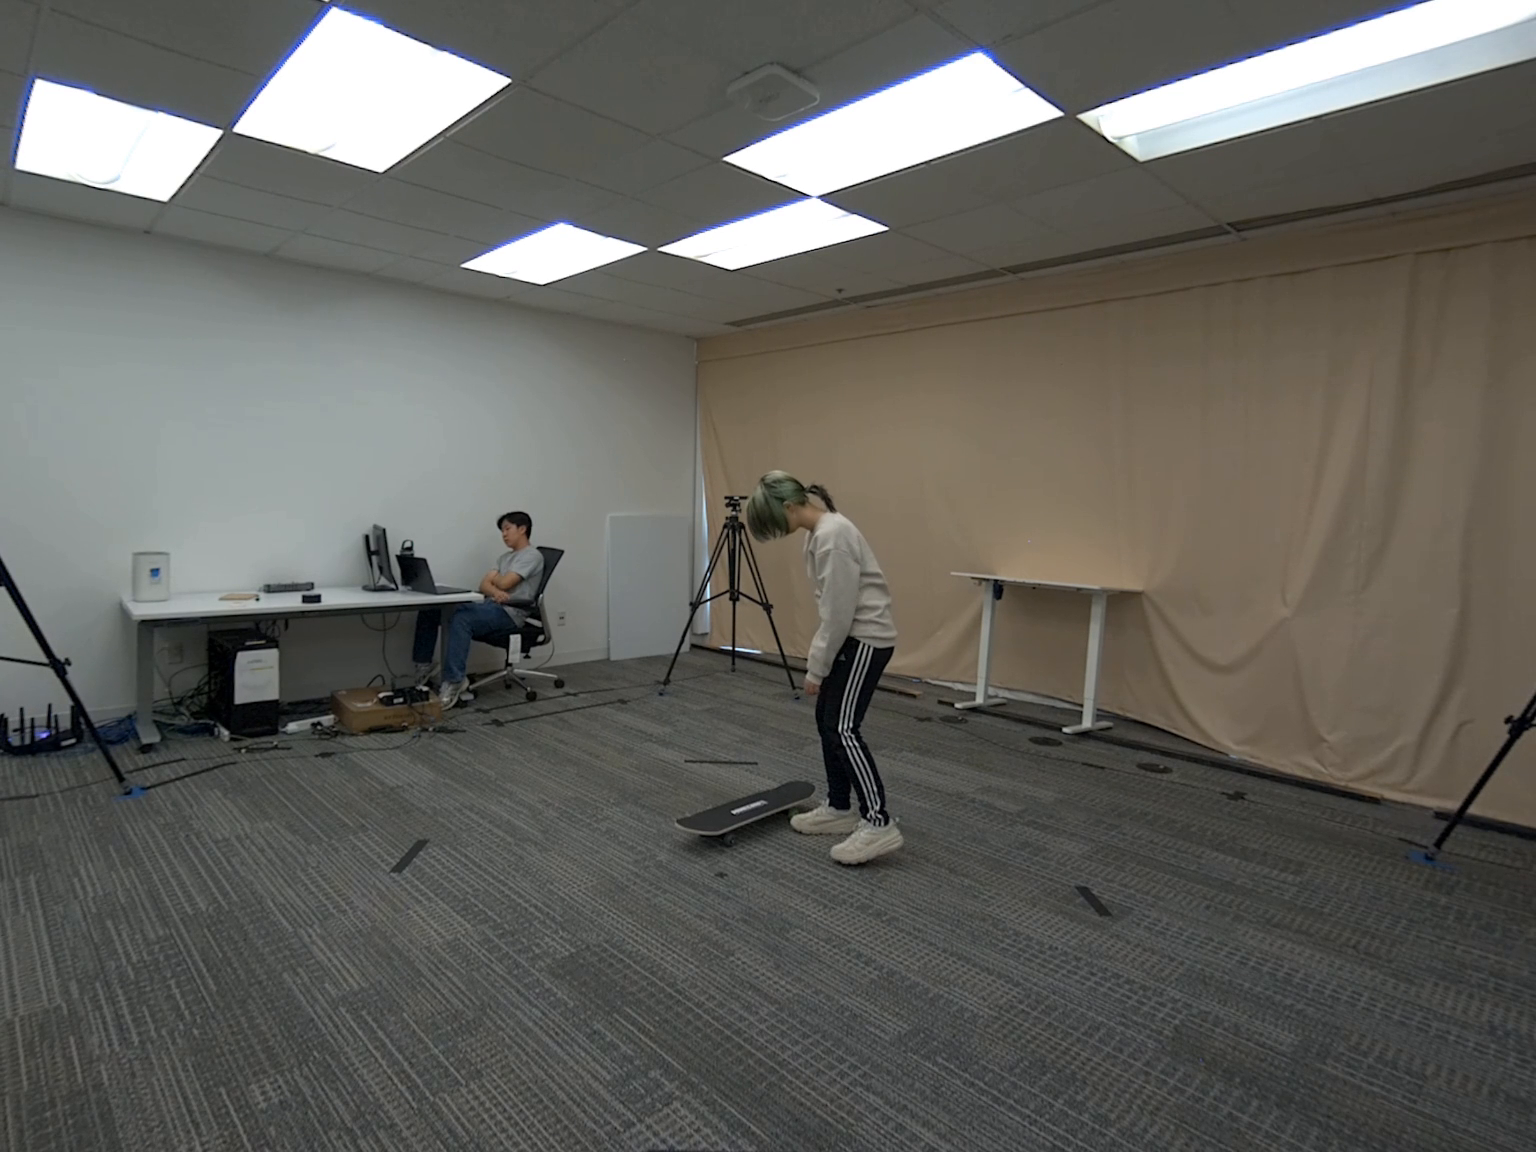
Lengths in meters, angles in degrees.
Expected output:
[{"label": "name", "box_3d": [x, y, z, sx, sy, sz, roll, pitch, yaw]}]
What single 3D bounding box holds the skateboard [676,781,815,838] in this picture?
[{"label": "skateboard", "box_3d": [-0.085, 1.007, 3.557, 0.198, 0.110, 0.768, 6, 7, 42]}]
